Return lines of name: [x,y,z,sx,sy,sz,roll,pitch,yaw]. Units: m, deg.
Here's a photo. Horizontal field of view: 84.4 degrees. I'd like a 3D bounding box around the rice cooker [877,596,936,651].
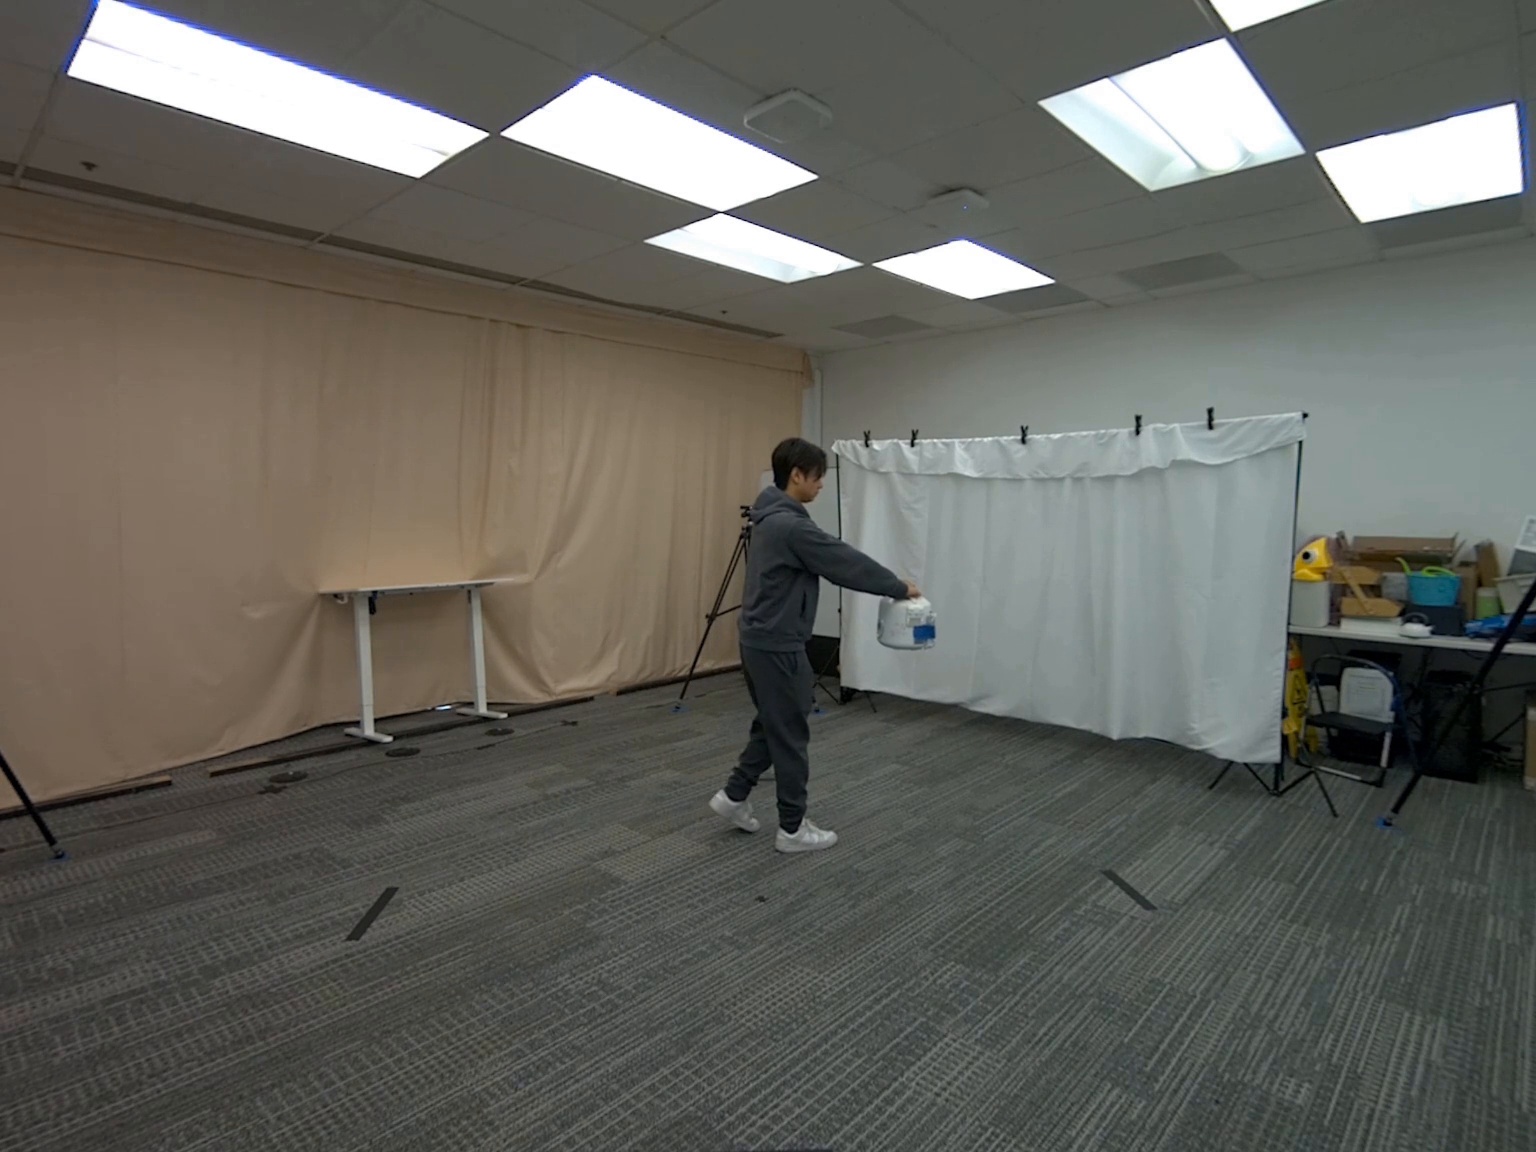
rice cooker: [0.570,0.179,3.485,0.215,0.232,0.224,2,5,-11]
